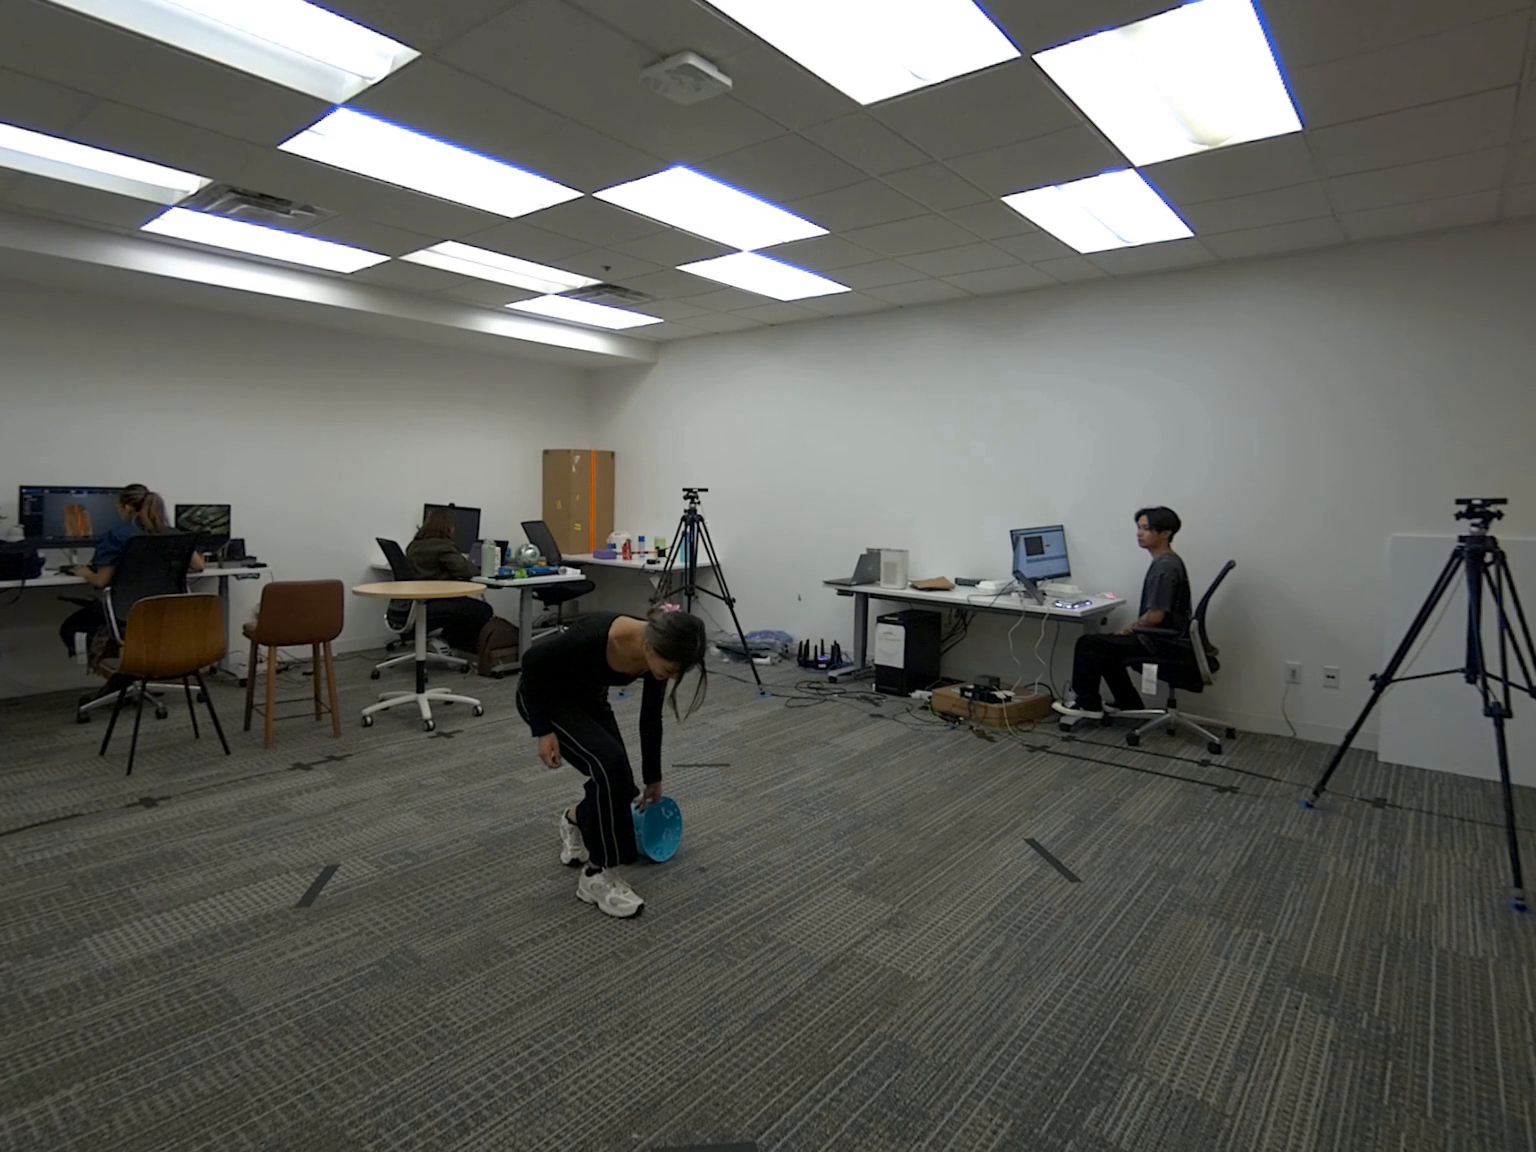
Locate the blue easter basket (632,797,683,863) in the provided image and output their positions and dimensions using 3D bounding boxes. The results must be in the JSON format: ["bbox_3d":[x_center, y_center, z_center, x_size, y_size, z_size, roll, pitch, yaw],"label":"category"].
[{"bbox_3d":[-0.453,0.943,3.229,0.160,0.244,0.236,-10,-3,36],"label":"blue easter basket"}]
